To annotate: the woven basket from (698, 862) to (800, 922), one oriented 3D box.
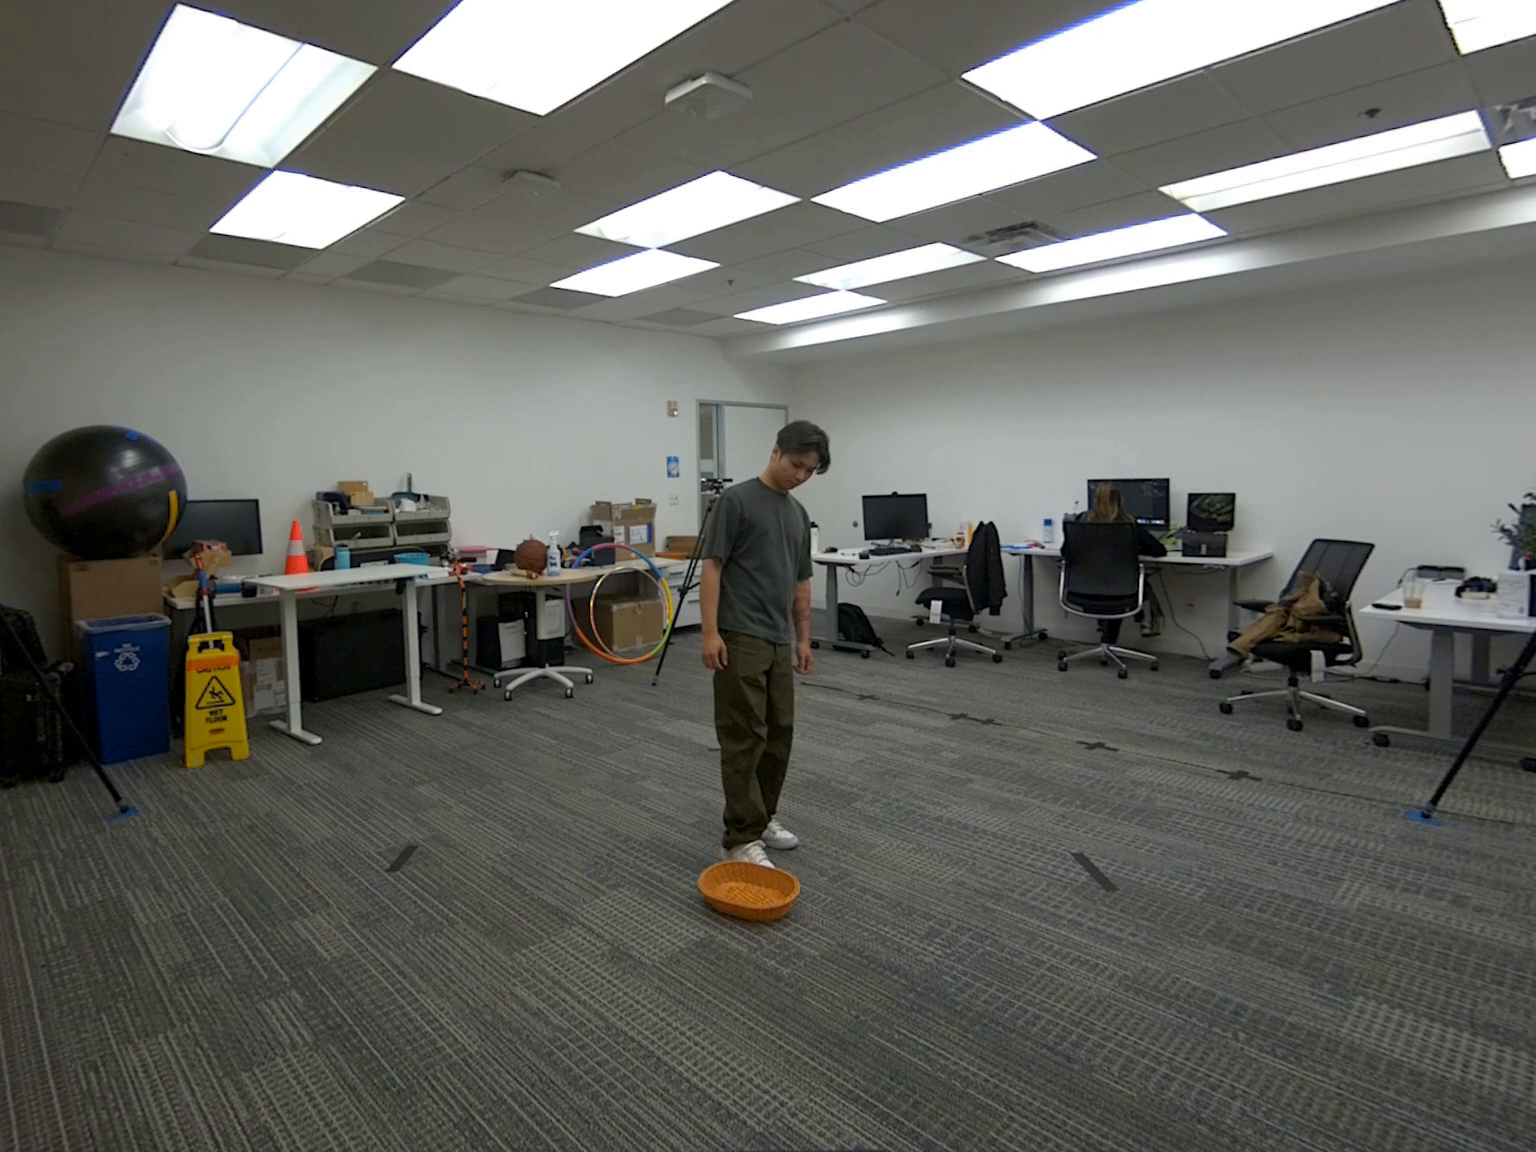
[{"bbox_3d":[-0.066,1.040,2.804,0.360,0.073,0.247,4,12,33],"label":"woven basket"}]
